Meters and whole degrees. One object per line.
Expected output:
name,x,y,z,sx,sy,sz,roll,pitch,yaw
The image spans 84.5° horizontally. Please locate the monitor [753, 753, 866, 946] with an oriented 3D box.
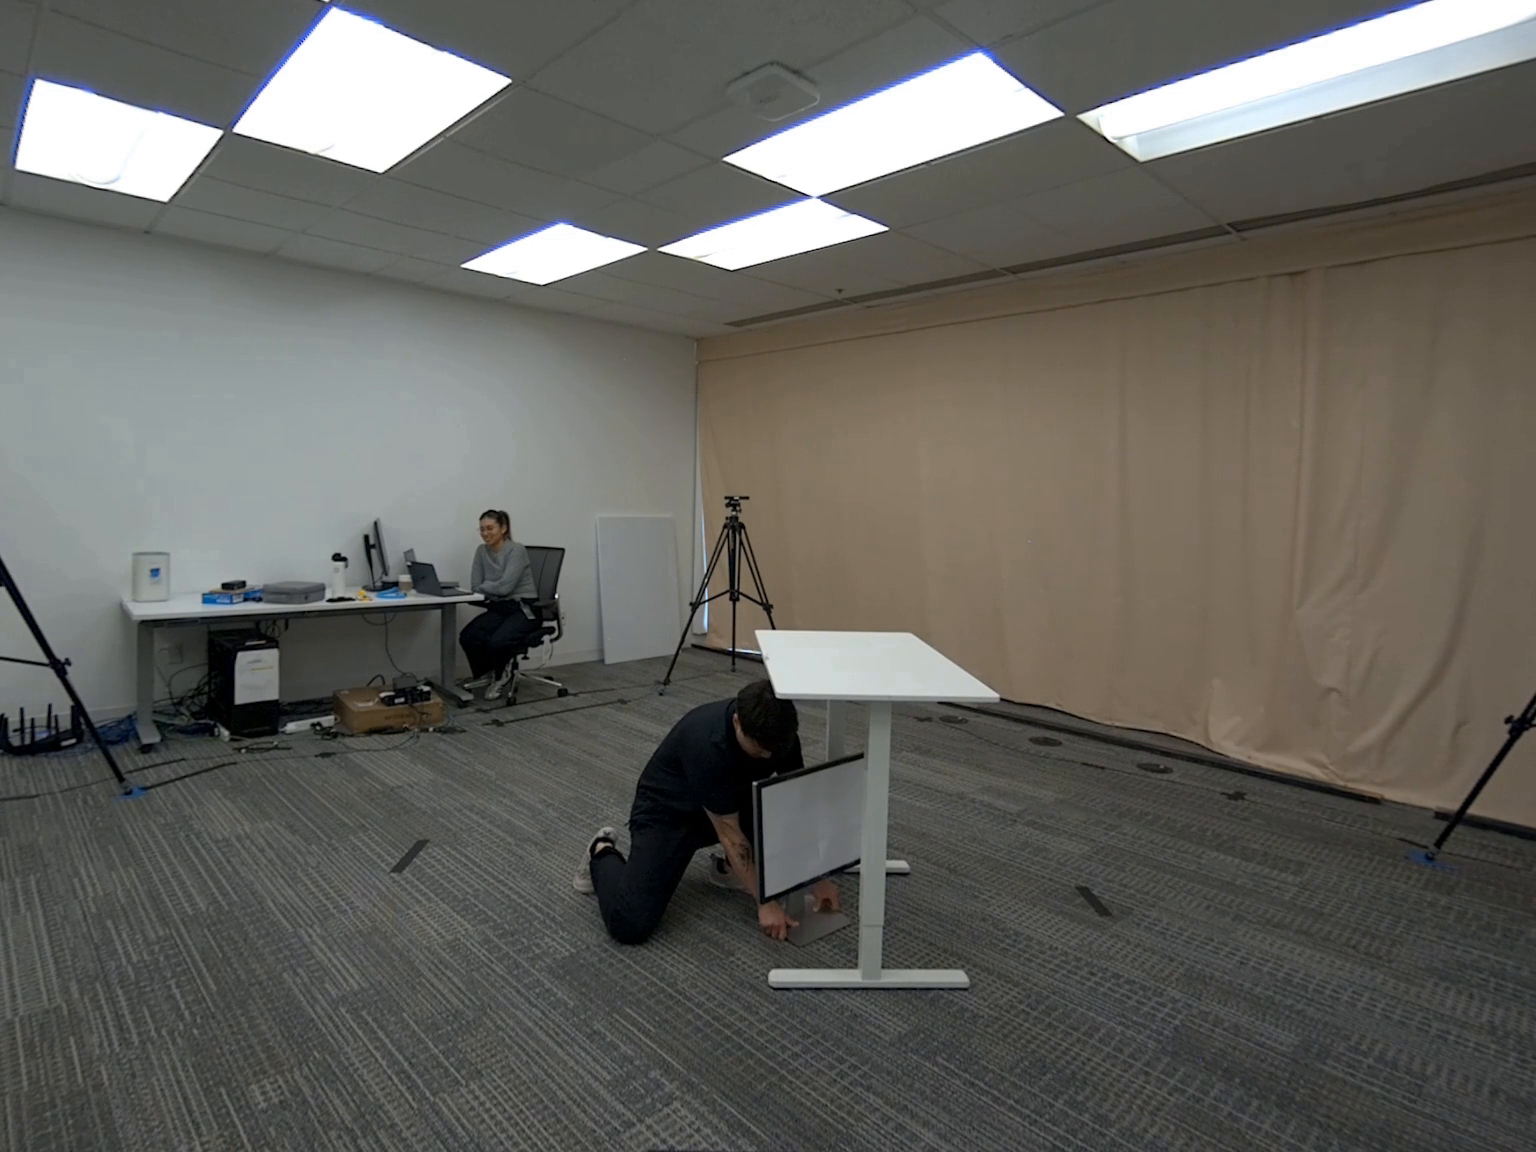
monitor,0.124,0.869,2.729,0.527,0.519,0.192,-5,14,-43
